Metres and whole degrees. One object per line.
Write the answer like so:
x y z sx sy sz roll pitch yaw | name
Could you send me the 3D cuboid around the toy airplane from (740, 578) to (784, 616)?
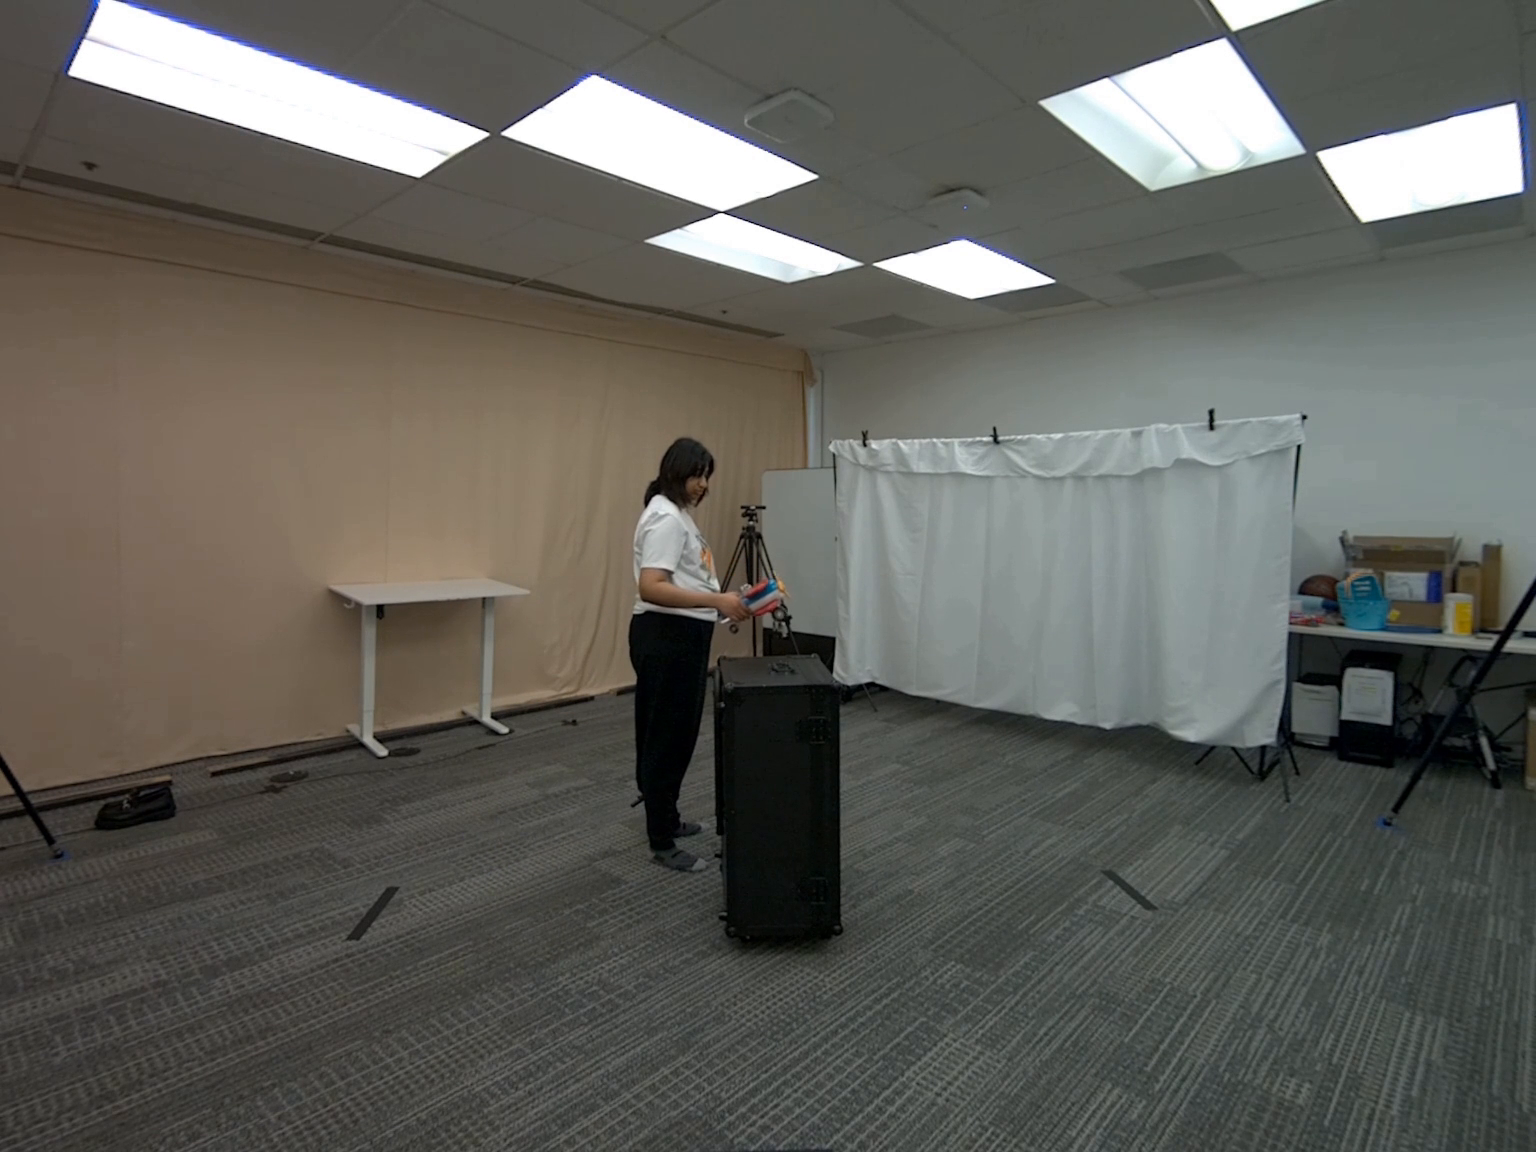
-0.049 0.115 3.040 0.255 0.157 0.255 -15 -1 -21 | toy airplane
